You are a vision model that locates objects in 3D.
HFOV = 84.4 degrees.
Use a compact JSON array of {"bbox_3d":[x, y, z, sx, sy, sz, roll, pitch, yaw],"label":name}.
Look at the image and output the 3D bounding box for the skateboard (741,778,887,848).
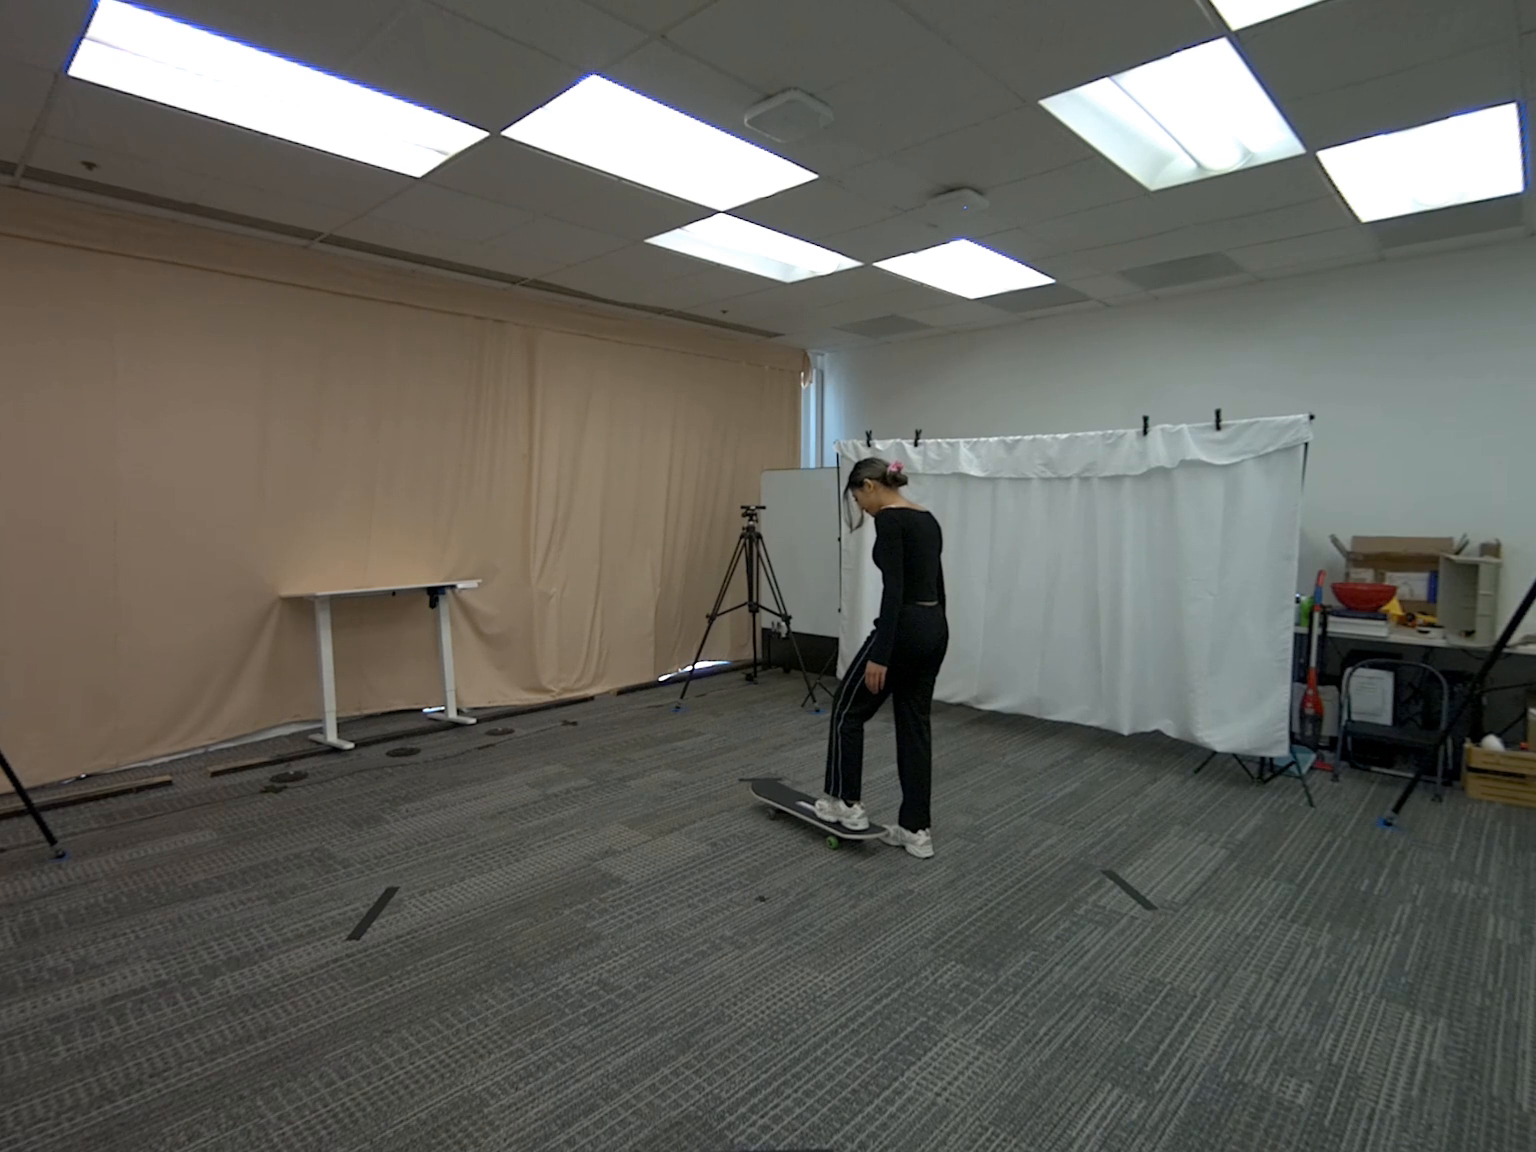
[{"bbox_3d":[0.205,1.031,3.626,0.188,0.110,0.811,-3,6,-37],"label":"skateboard"}]
